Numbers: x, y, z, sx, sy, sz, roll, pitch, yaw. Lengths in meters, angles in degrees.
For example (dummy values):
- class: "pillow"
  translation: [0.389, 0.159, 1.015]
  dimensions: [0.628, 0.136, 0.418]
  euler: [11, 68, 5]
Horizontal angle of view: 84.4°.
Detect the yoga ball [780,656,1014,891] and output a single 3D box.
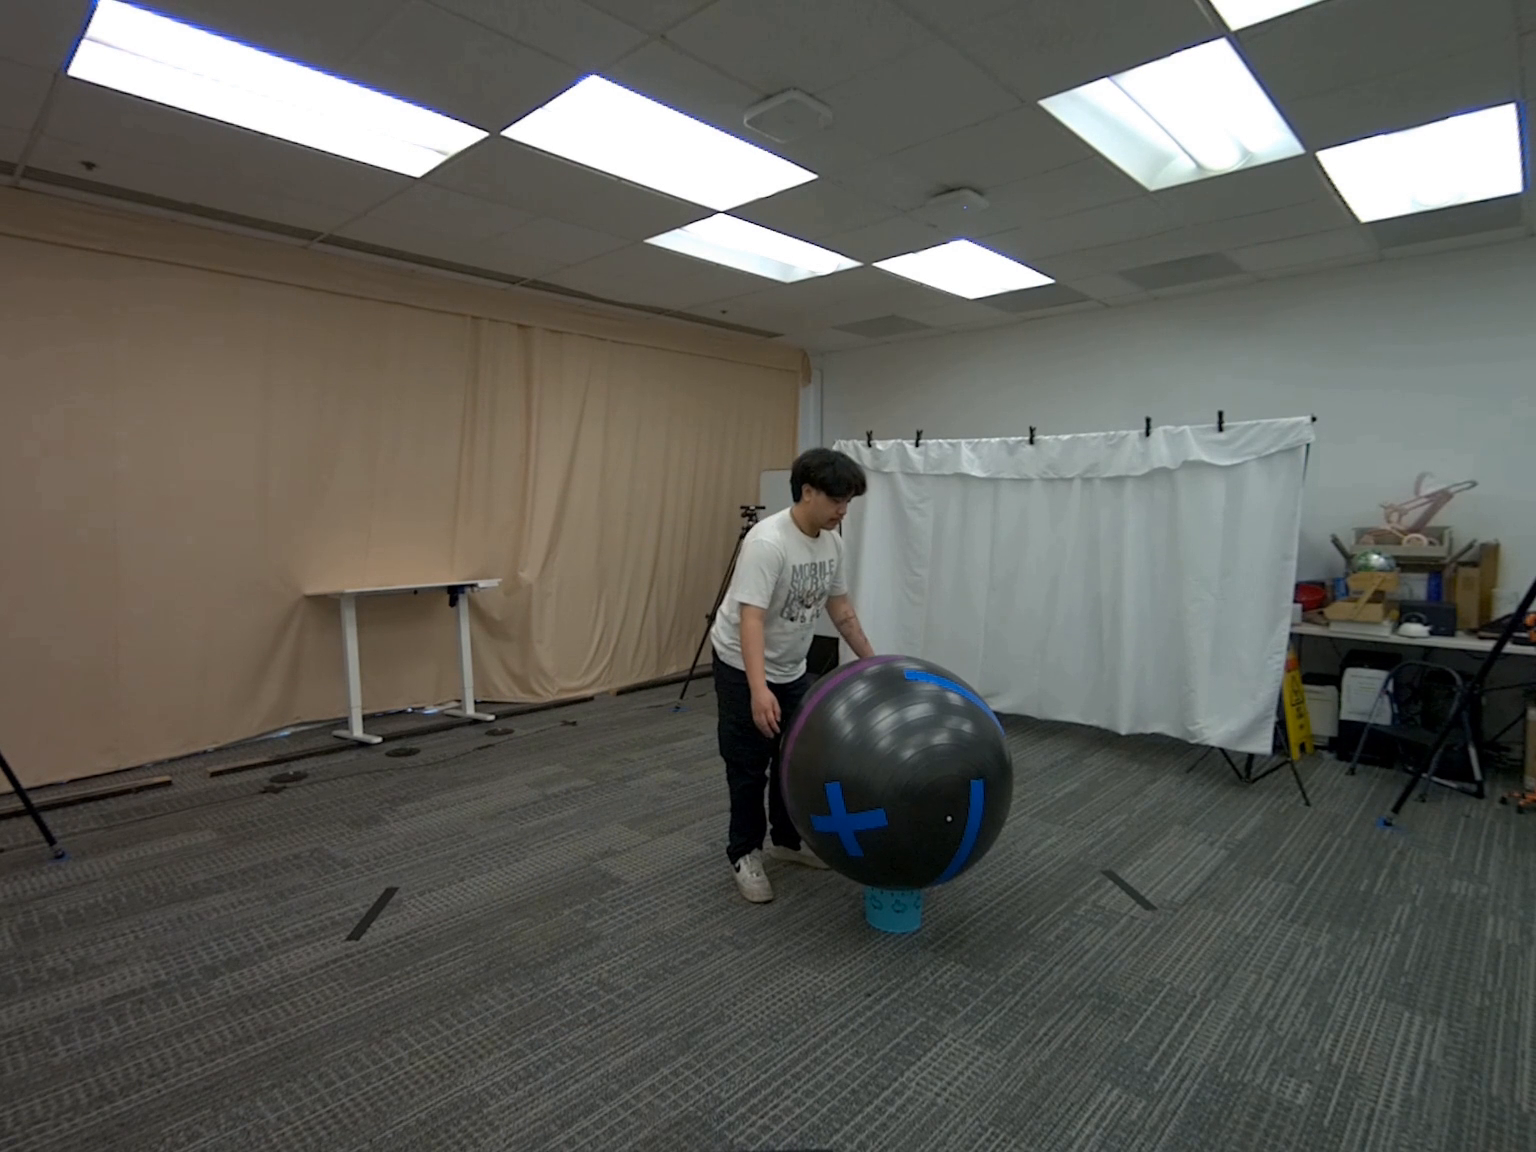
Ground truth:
- class: "yoga ball"
  translation: [0.425, 0.649, 2.810]
  dimensions: [0.757, 0.756, 0.760]
  euler: [0, 4, -2]
